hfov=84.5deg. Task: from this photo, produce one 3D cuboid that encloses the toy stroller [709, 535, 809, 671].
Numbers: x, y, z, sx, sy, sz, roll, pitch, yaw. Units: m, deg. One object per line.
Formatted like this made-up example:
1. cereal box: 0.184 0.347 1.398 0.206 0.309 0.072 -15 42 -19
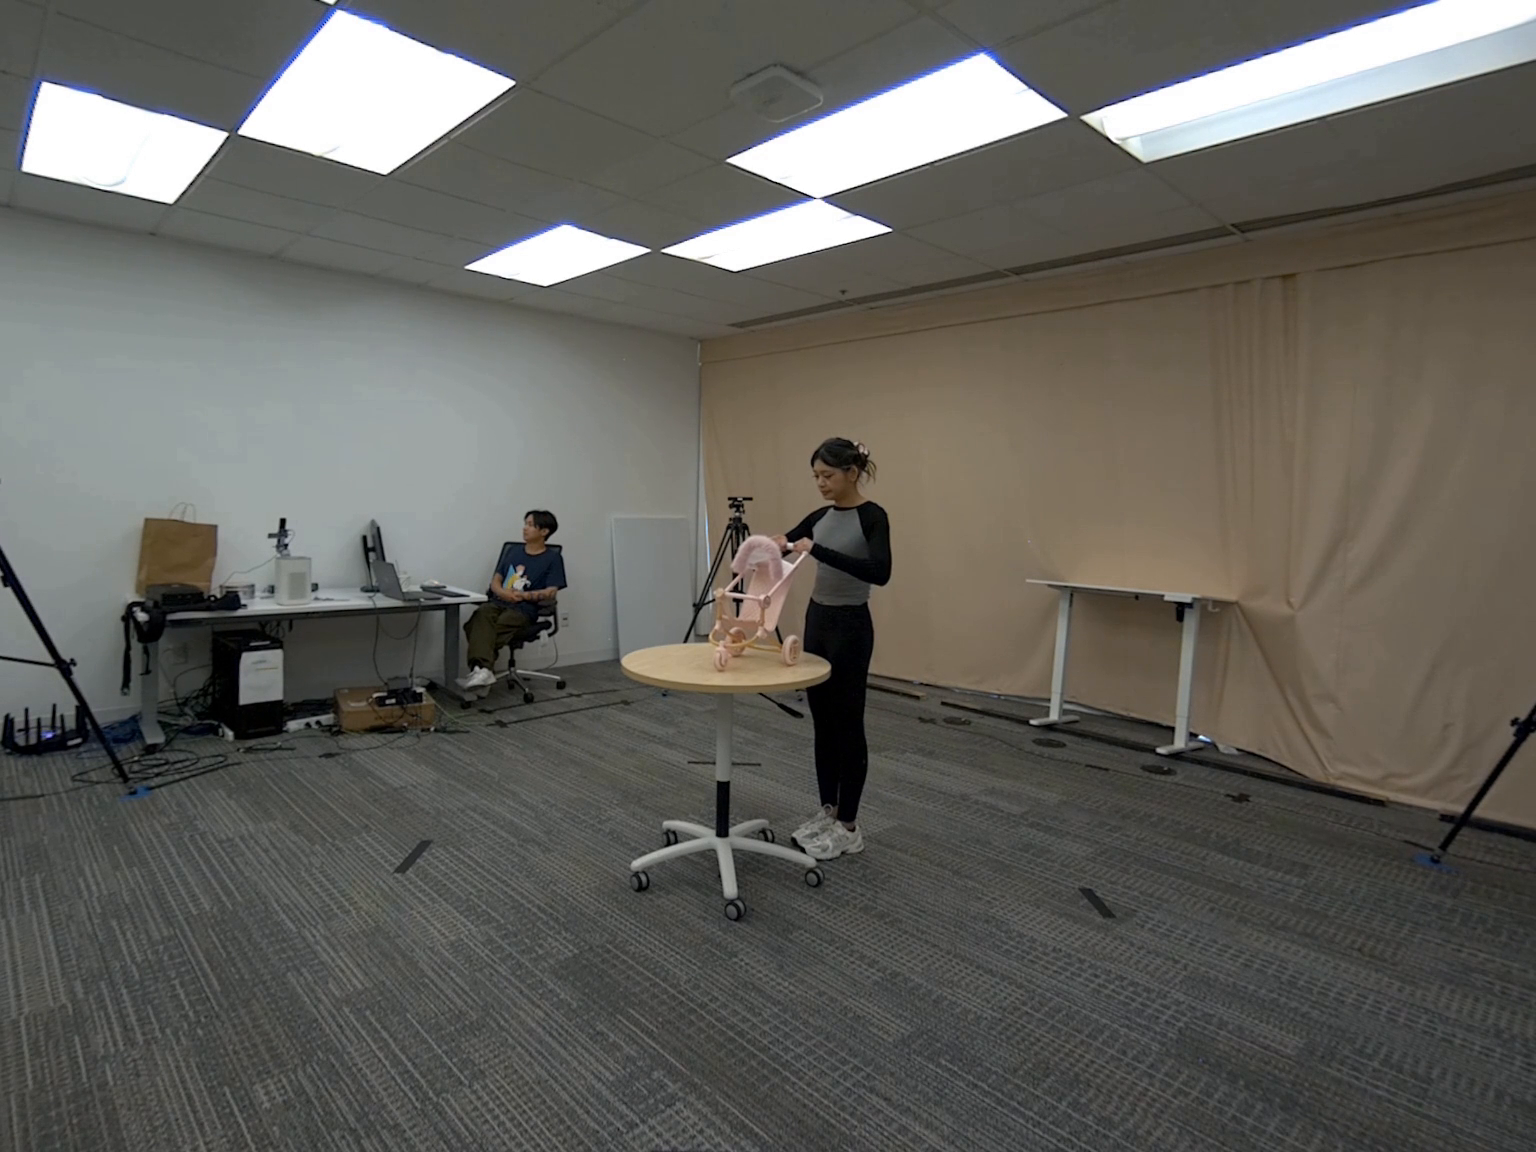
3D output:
1. toy stroller: -0.055 0.093 3.065 0.288 0.537 0.331 4 -11 40
